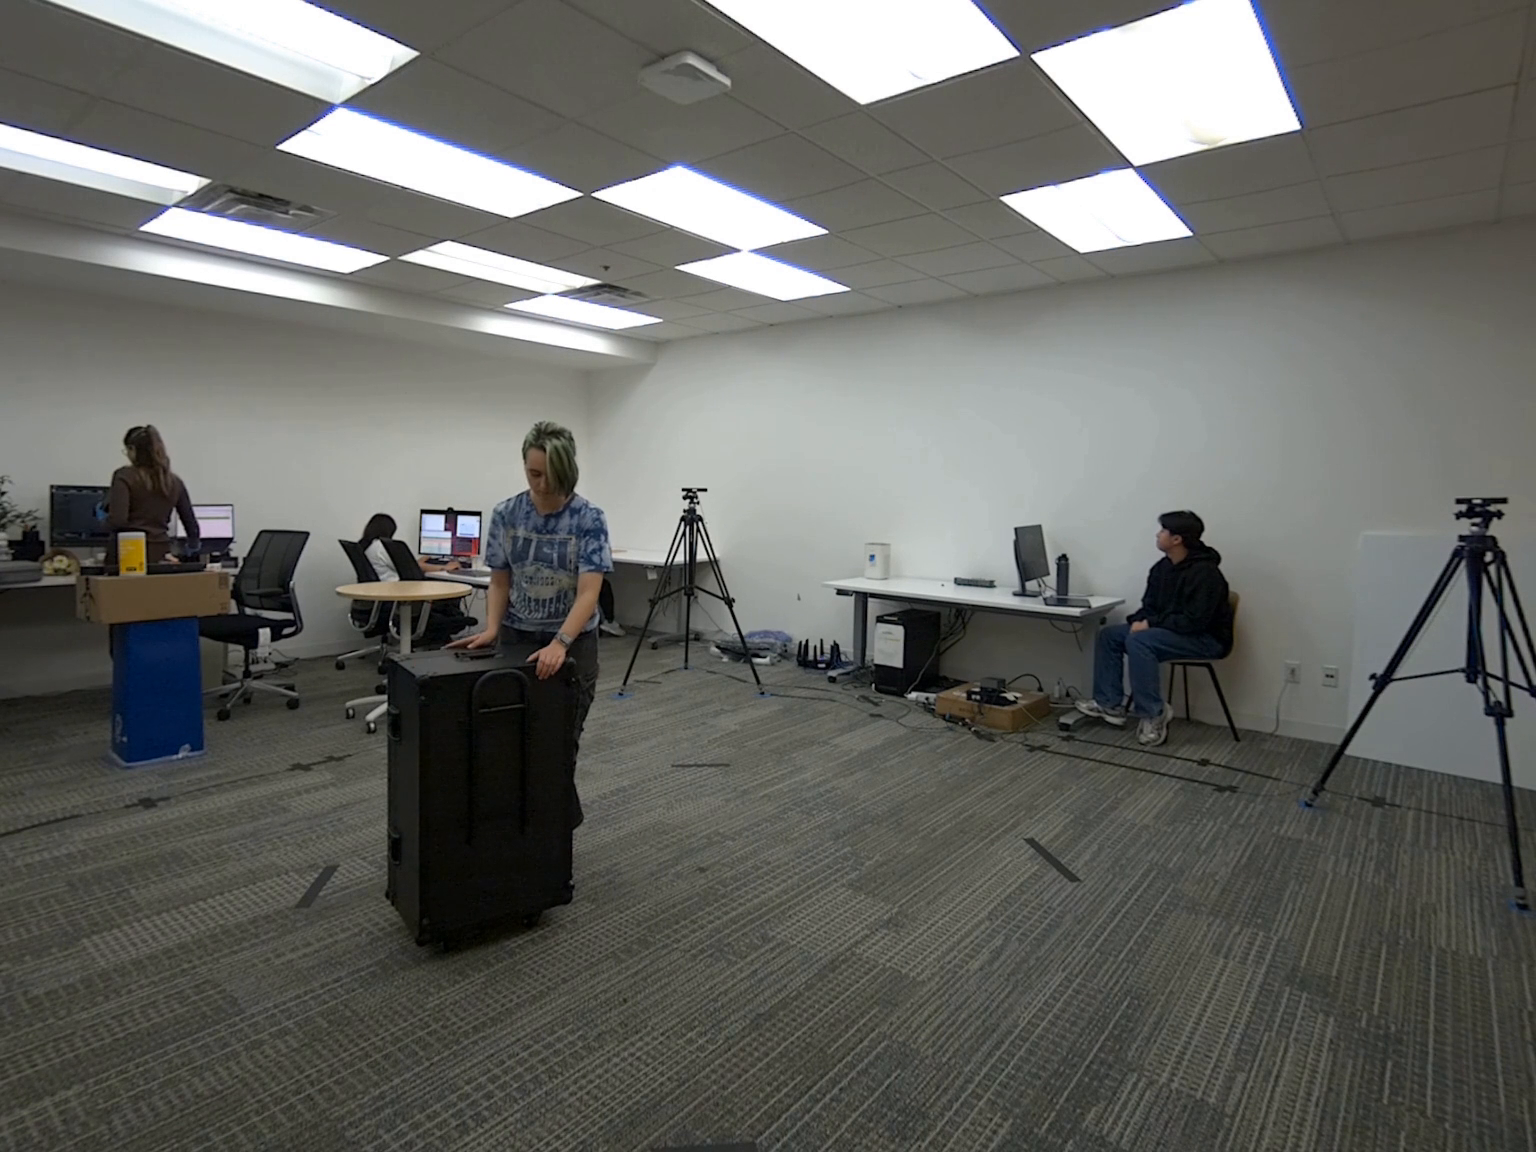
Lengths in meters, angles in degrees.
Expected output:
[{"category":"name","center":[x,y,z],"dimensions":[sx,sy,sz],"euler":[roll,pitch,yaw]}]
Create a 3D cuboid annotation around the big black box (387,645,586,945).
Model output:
[{"category":"big black box","center":[-0.913,0.682,2.674],"dimensions":[0.506,0.858,0.410],"euler":[-2,5,-37]}]
